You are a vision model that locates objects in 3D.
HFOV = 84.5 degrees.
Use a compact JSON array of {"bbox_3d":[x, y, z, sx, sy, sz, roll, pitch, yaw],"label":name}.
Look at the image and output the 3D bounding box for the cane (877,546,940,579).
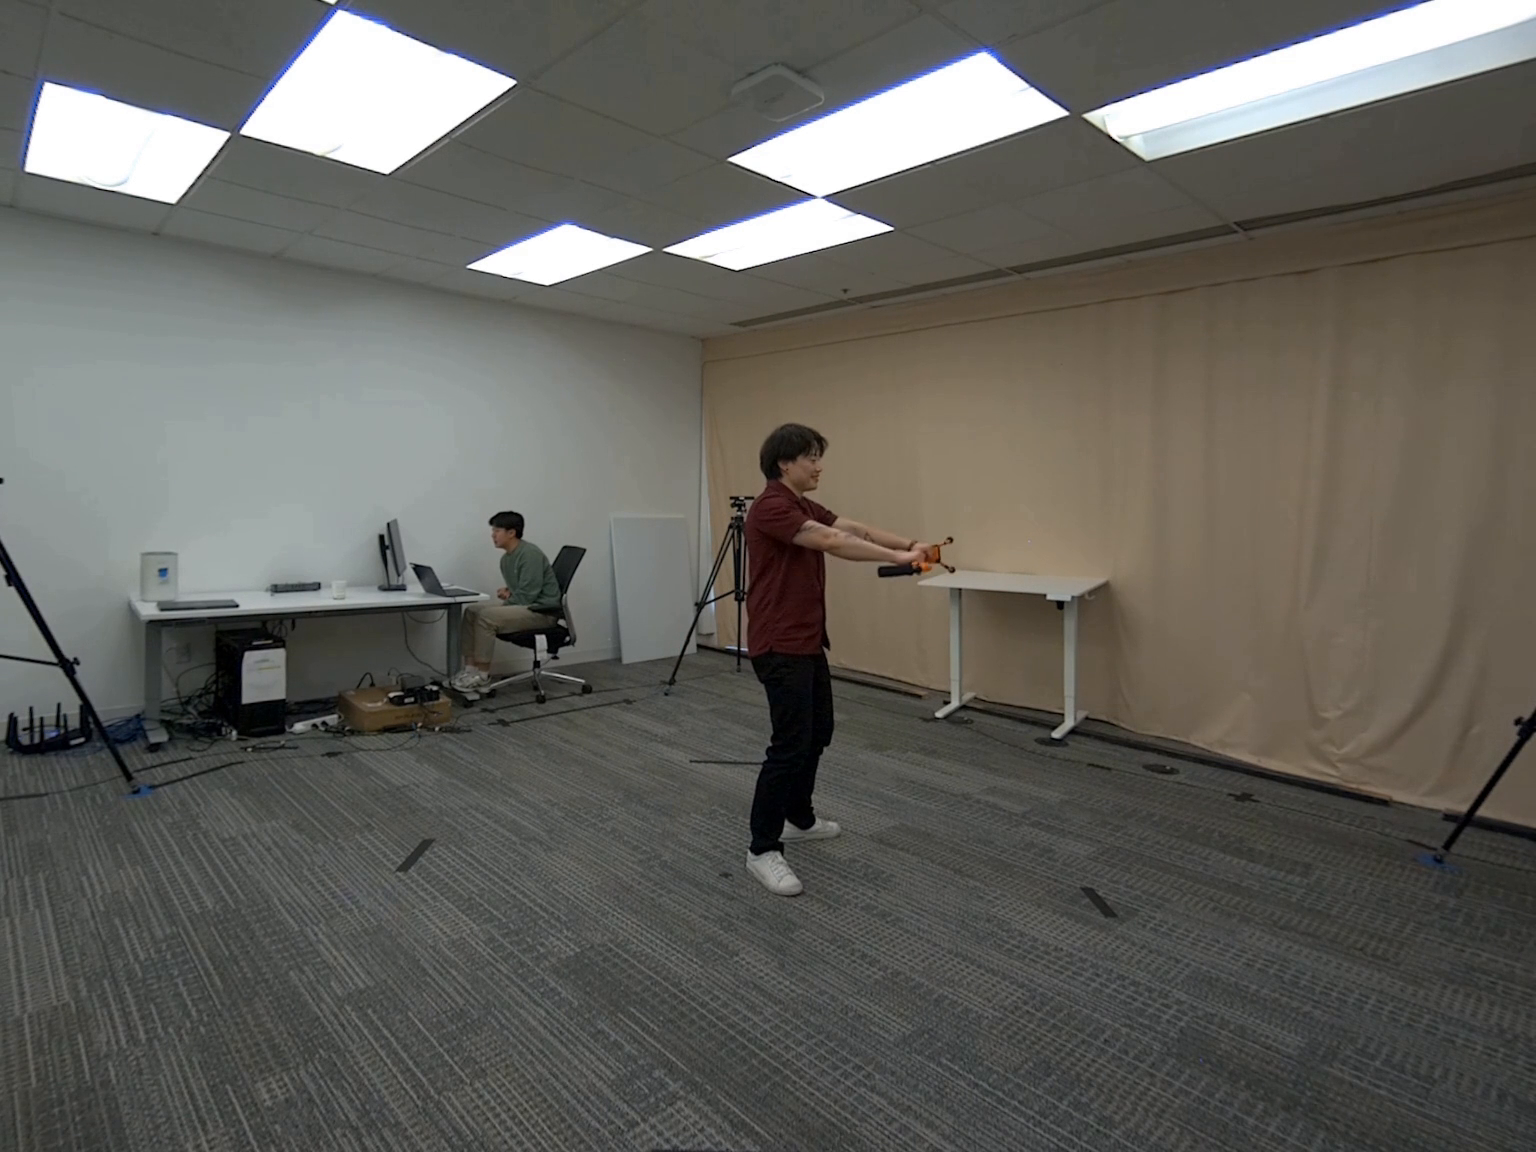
[{"bbox_3d":[0.558,-0.042,3.062,0.209,0.151,0.899,-4,3,14],"label":"cane"}]
